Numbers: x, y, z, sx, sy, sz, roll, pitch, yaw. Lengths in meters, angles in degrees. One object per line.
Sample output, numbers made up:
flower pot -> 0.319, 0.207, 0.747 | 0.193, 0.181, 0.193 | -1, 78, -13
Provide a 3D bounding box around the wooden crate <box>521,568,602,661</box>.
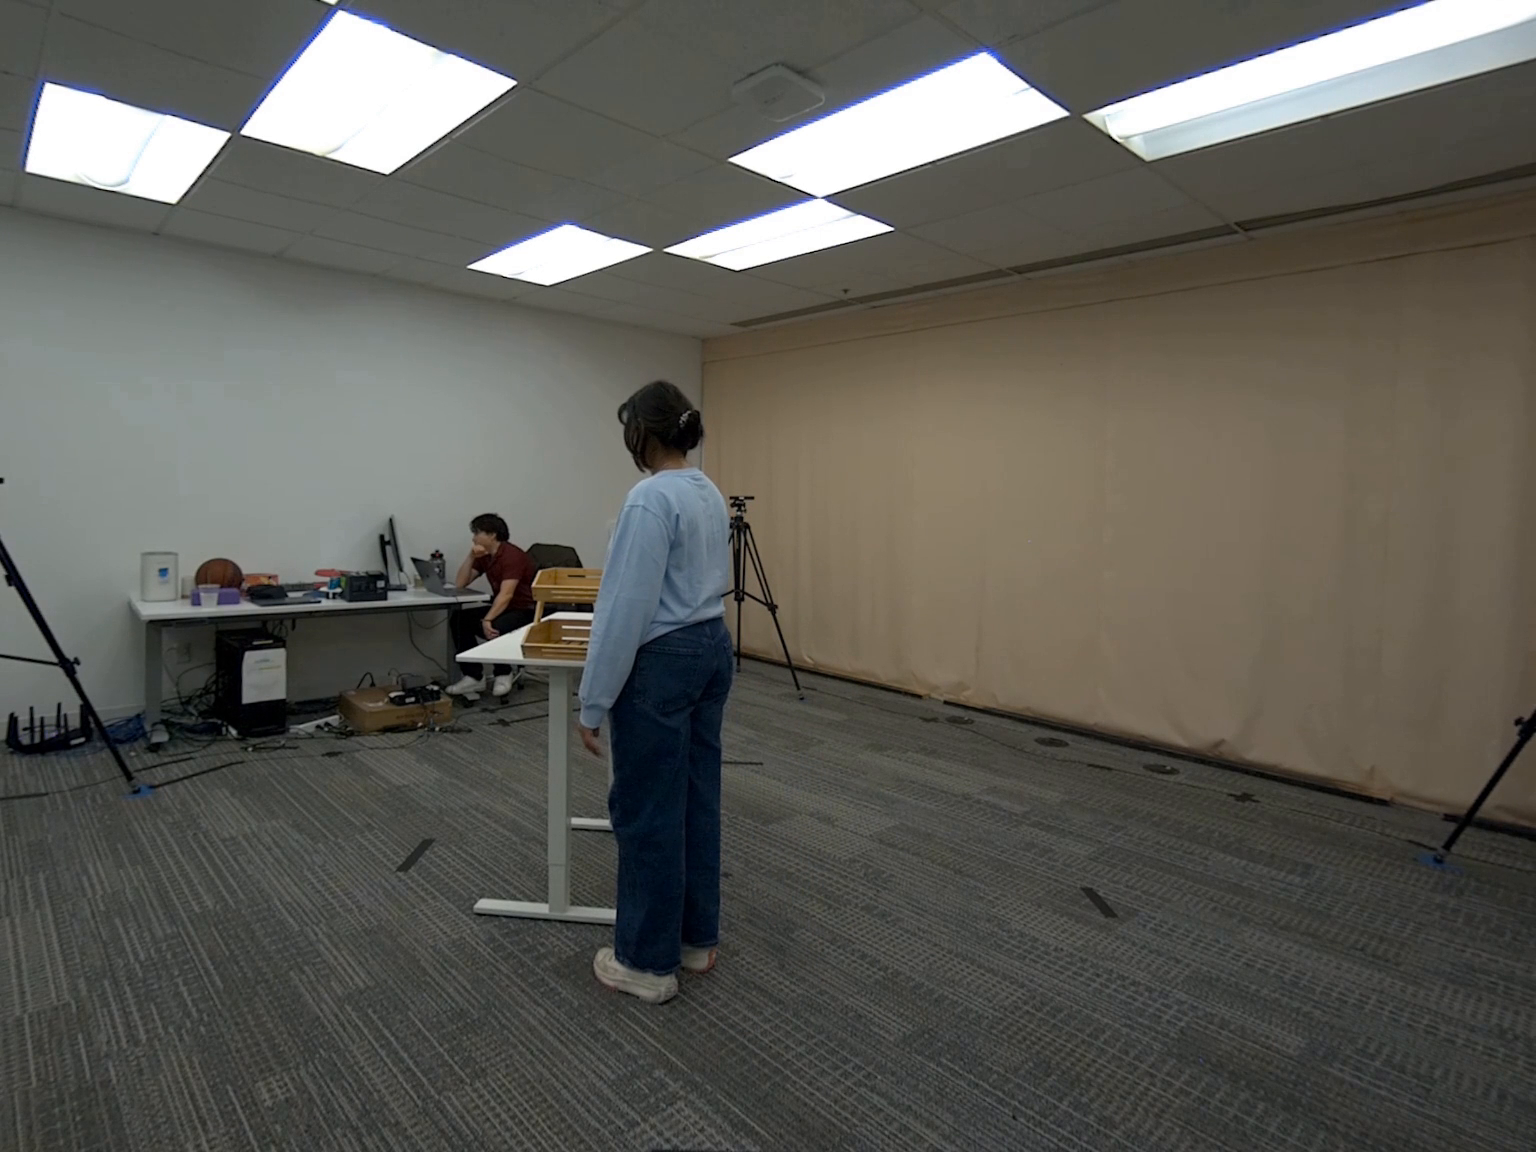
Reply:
wooden crate -> -0.611, 0.122, 2.710 | 0.326, 0.272, 0.301 | 1, 4, 6
